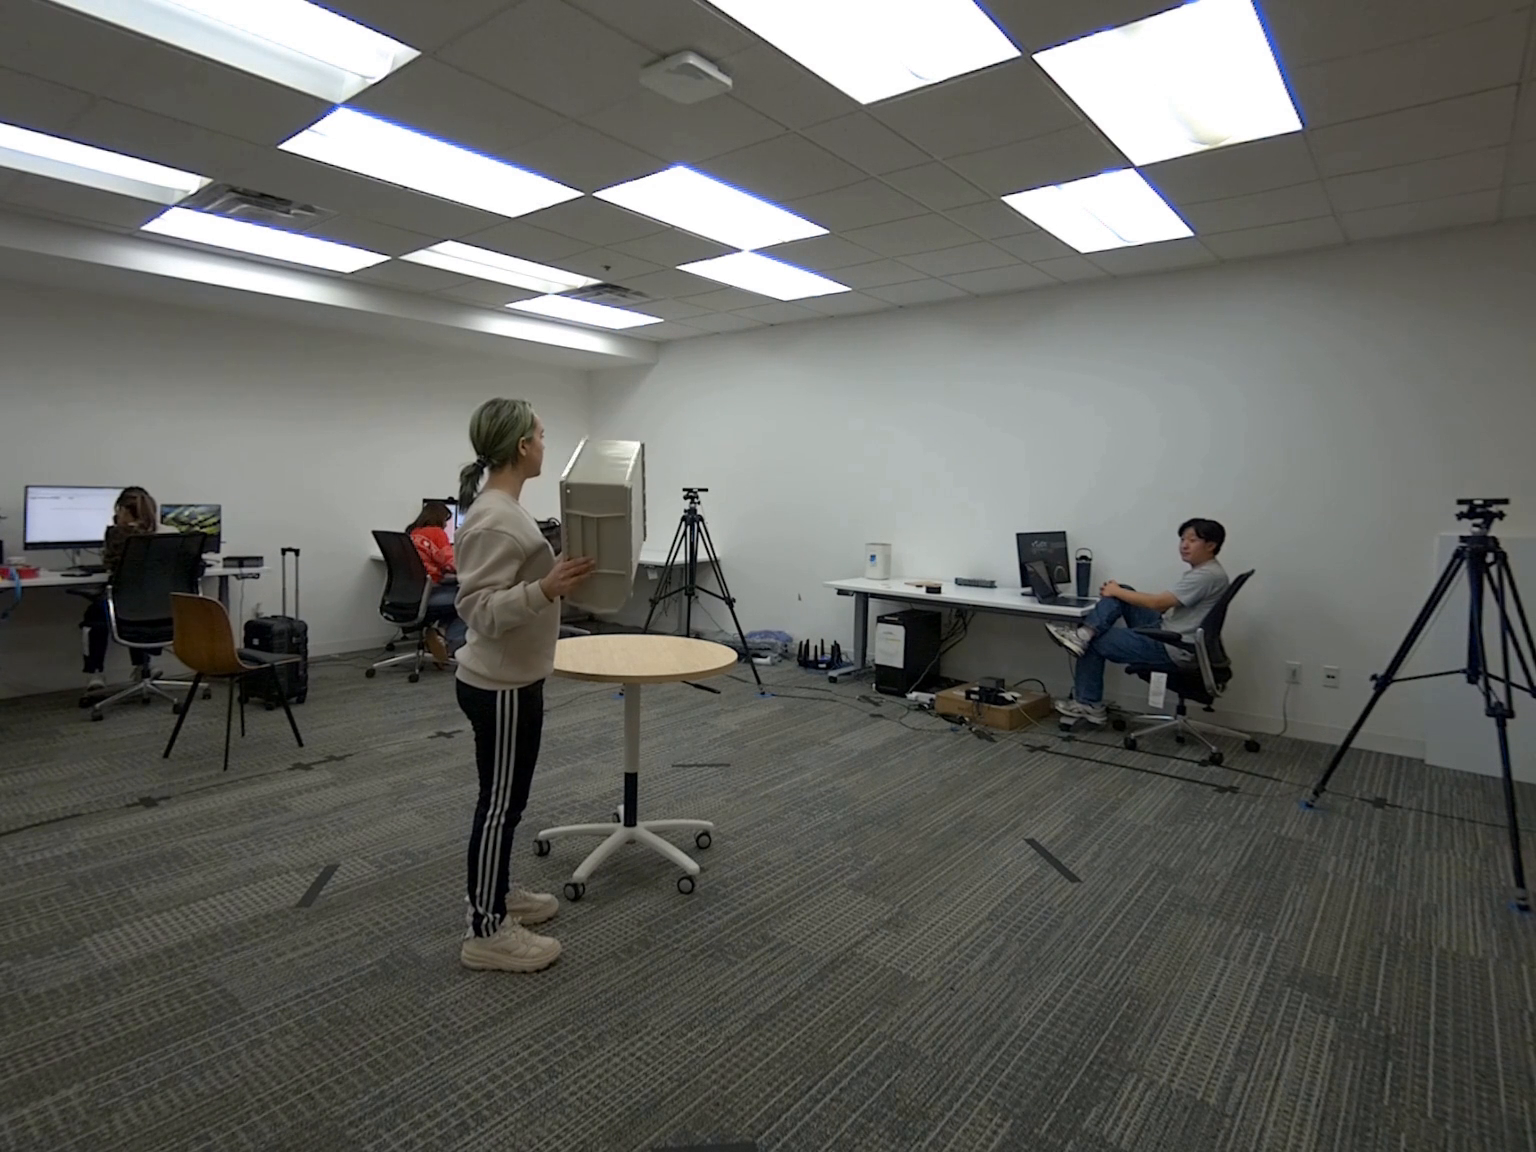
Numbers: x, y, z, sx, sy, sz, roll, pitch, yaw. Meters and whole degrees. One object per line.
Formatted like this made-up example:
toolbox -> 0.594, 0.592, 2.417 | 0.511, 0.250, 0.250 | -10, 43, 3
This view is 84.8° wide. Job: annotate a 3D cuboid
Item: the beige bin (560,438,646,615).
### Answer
beige bin -> -0.457, -0.156, 2.383 | 0.189, 0.370, 0.430 | 2, 21, -1
